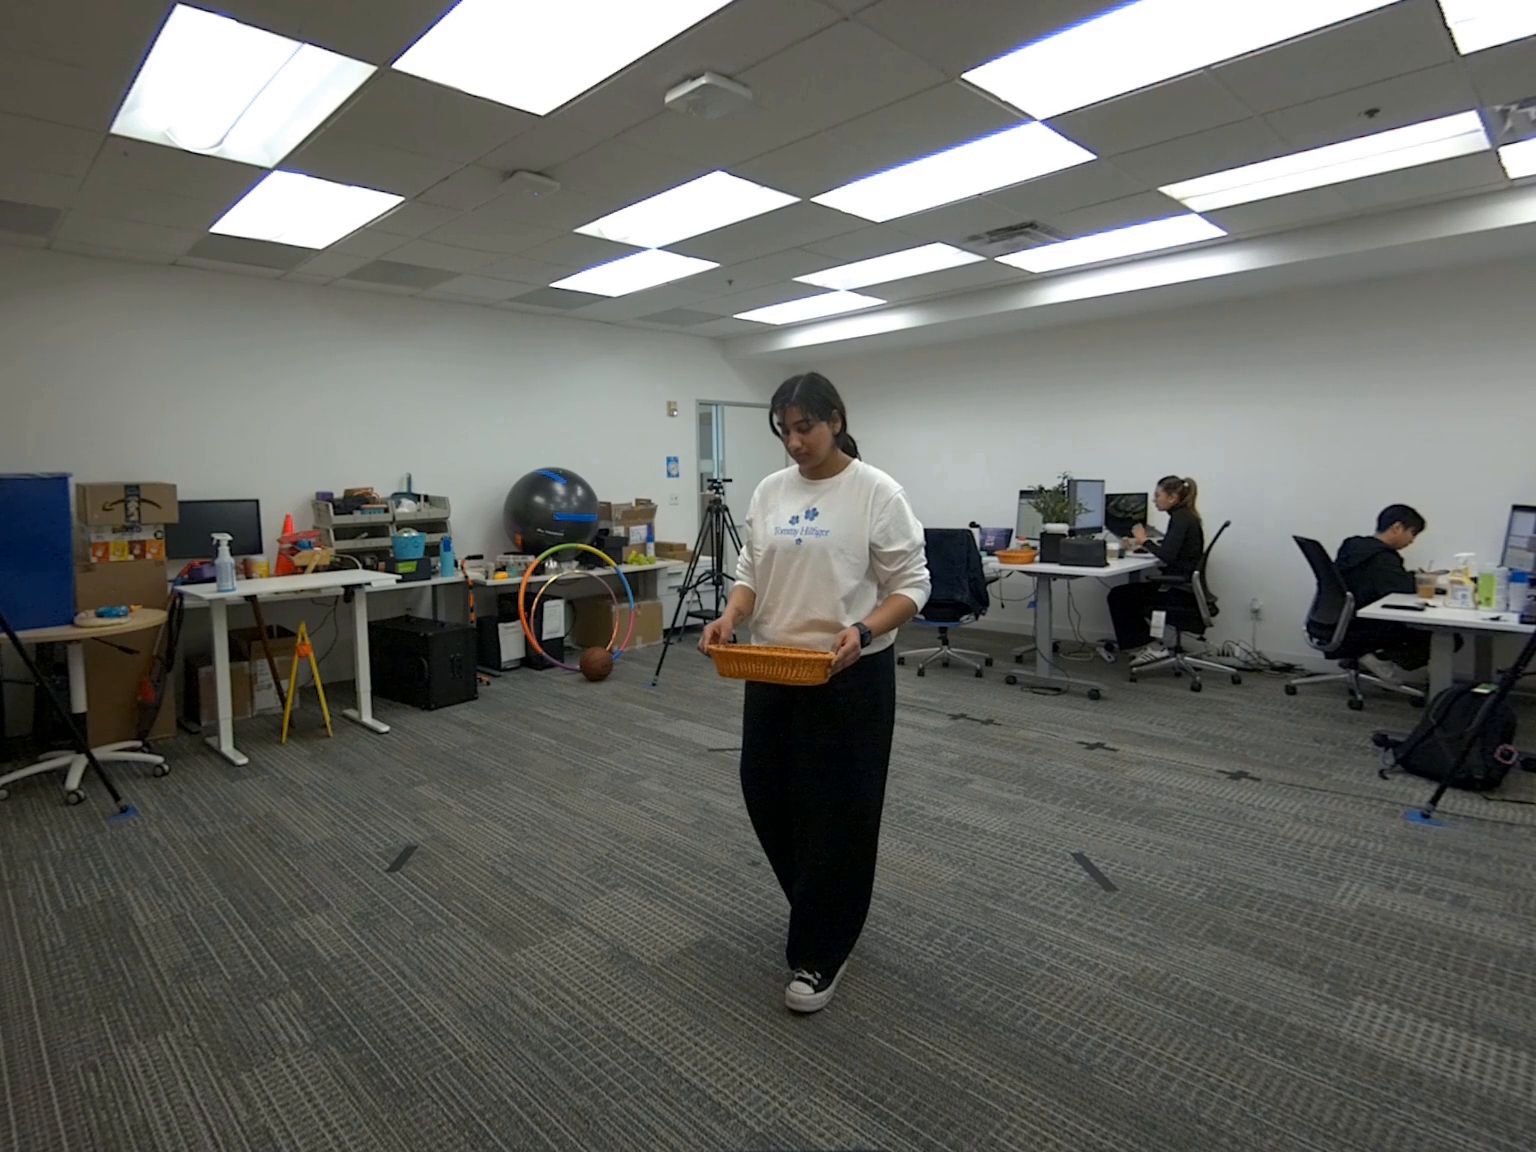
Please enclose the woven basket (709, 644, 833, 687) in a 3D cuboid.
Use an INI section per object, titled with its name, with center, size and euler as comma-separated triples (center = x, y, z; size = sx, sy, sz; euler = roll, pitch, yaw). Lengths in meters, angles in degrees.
[woven basket]
center = 0.021, 0.213, 2.118
size = 0.360, 0.073, 0.245
euler = 1, 2, 36
